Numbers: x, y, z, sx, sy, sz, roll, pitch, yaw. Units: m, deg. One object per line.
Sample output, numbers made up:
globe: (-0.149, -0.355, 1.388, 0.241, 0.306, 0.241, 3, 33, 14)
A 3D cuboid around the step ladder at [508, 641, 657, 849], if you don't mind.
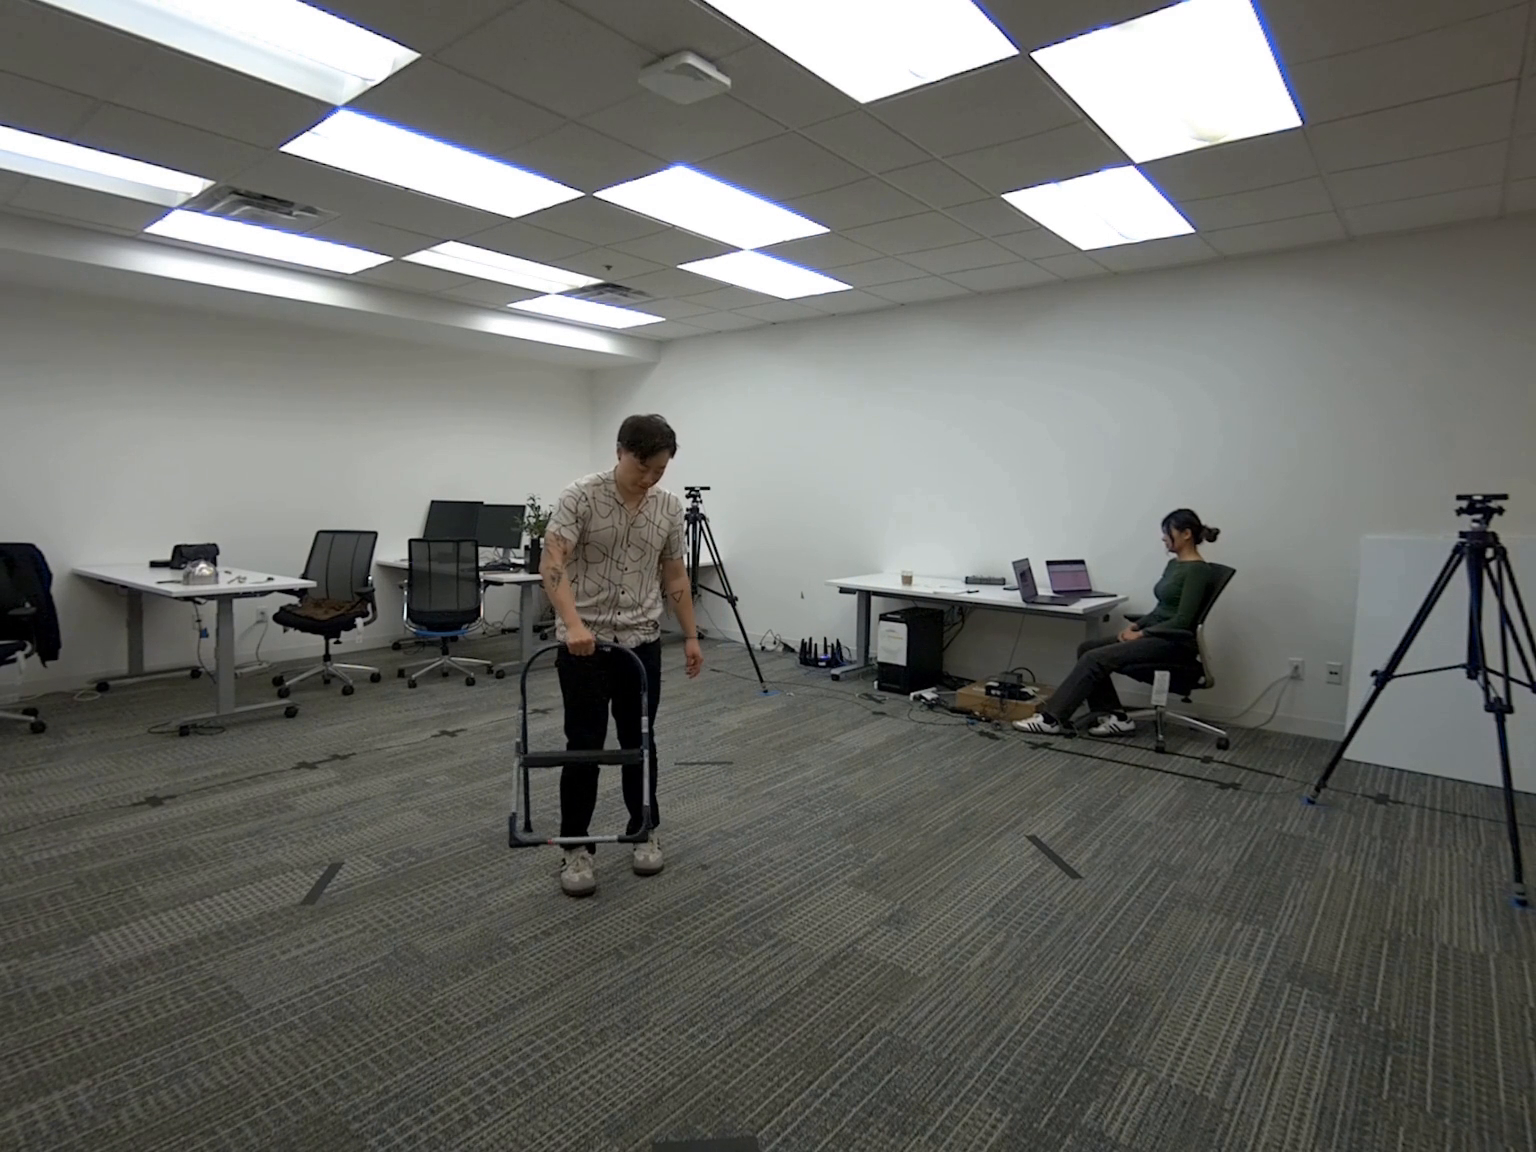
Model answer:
step ladder: (-0.610, 0.525, 2.738, 0.428, 0.613, 0.347, -3, -10, -5)
